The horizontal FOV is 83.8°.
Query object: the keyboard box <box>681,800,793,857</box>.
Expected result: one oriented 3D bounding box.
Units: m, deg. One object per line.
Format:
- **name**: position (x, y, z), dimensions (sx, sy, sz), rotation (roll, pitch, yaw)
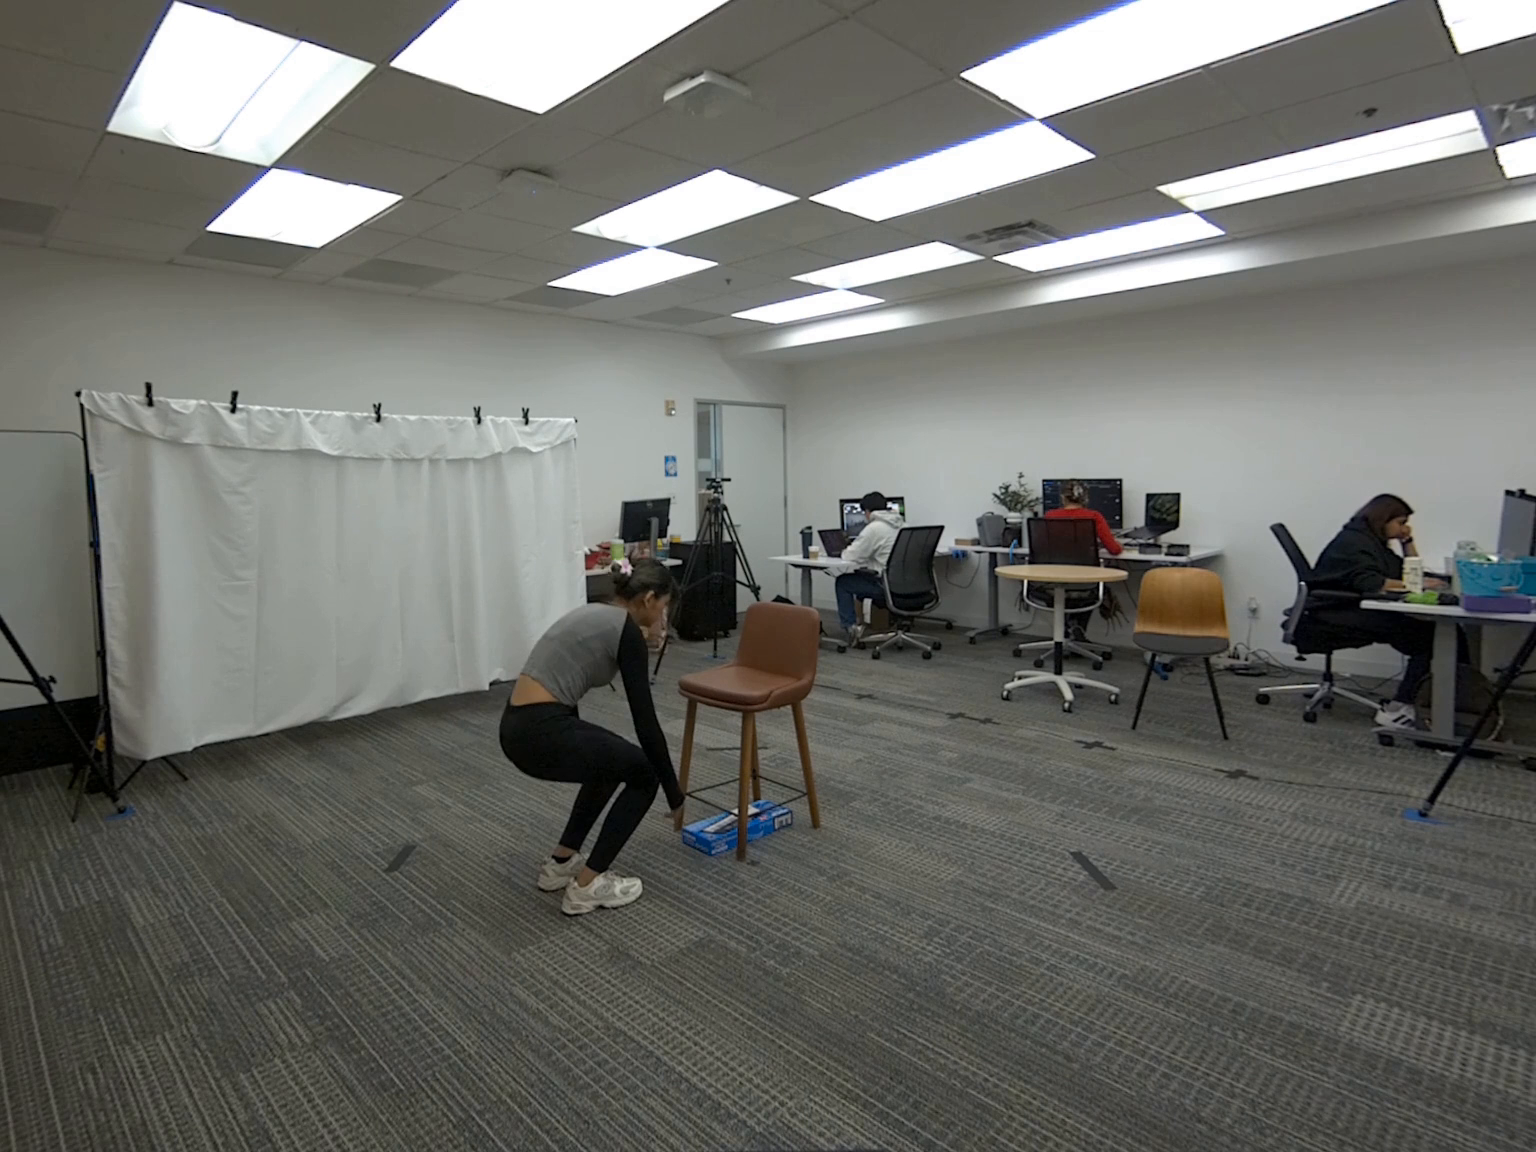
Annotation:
- **keyboard box**: position (-0.117, 0.985, 3.367), dimensions (0.425, 0.059, 0.181), rotation (-6, 8, -42)
